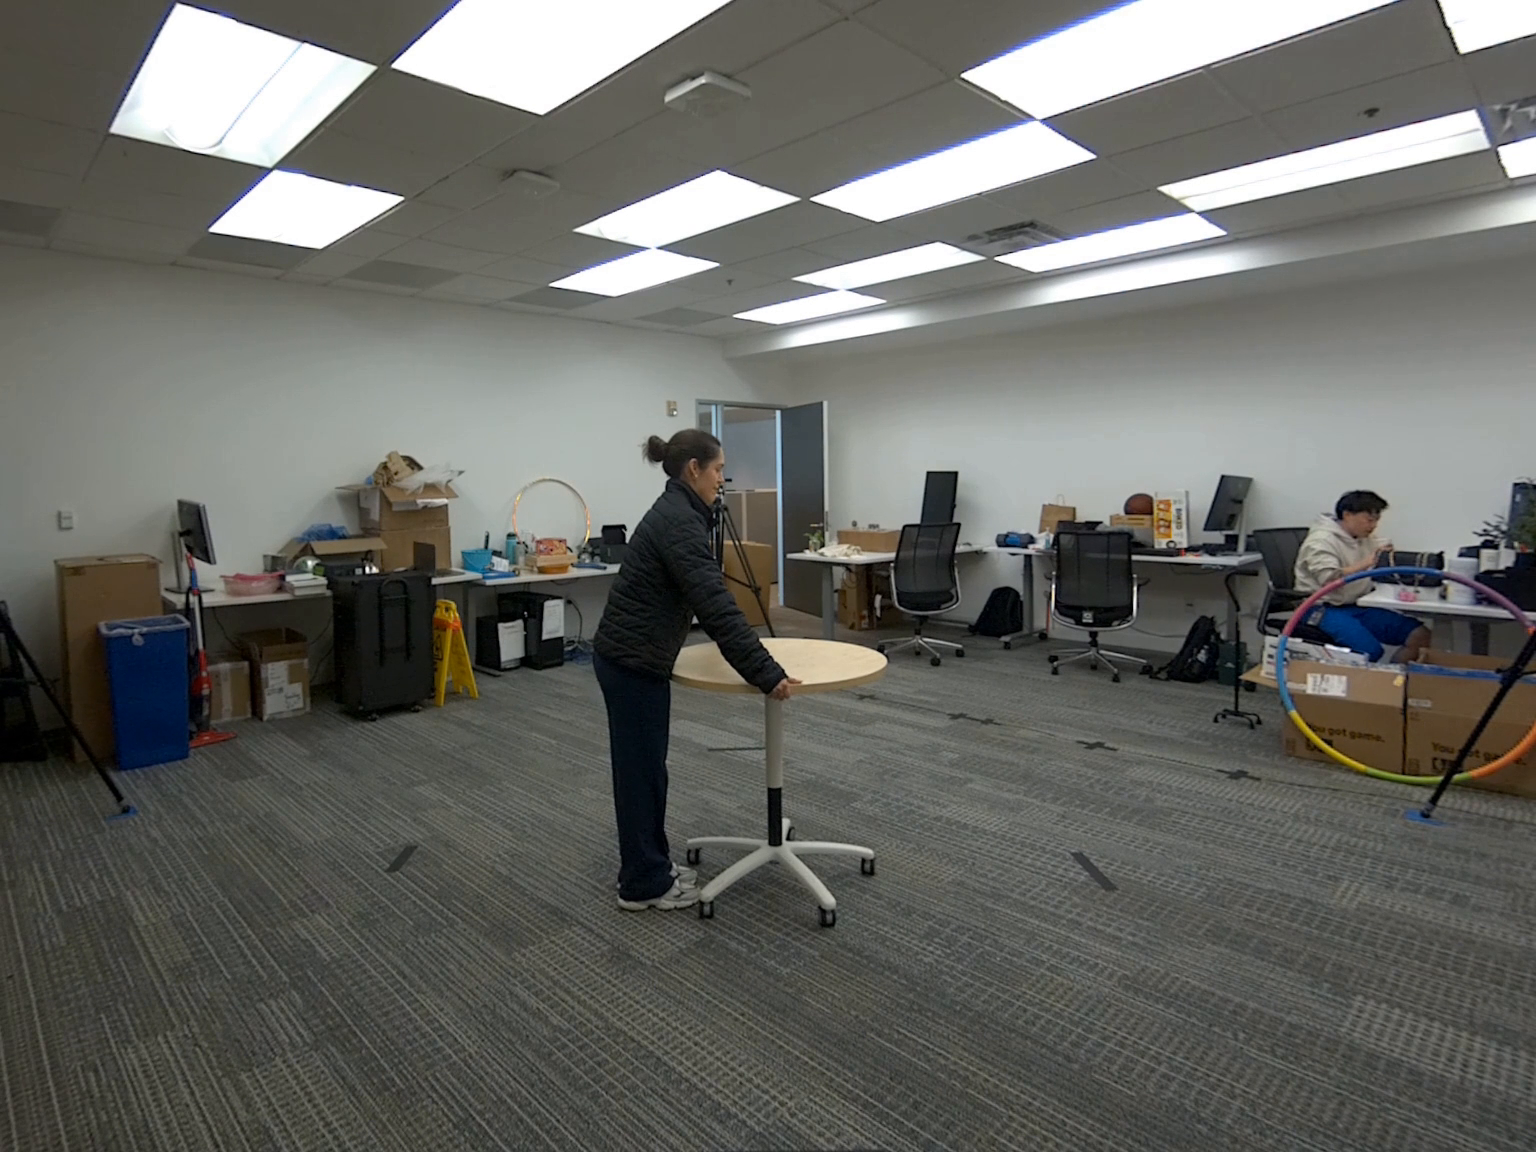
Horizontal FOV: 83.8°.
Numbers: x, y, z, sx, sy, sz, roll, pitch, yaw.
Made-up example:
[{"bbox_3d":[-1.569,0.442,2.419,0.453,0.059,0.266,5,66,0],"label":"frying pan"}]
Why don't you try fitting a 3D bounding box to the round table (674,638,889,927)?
[{"bbox_3d":[0.014,0.668,2.927,0.784,0.784,0.789,-1,5,-2],"label":"round table"}]
